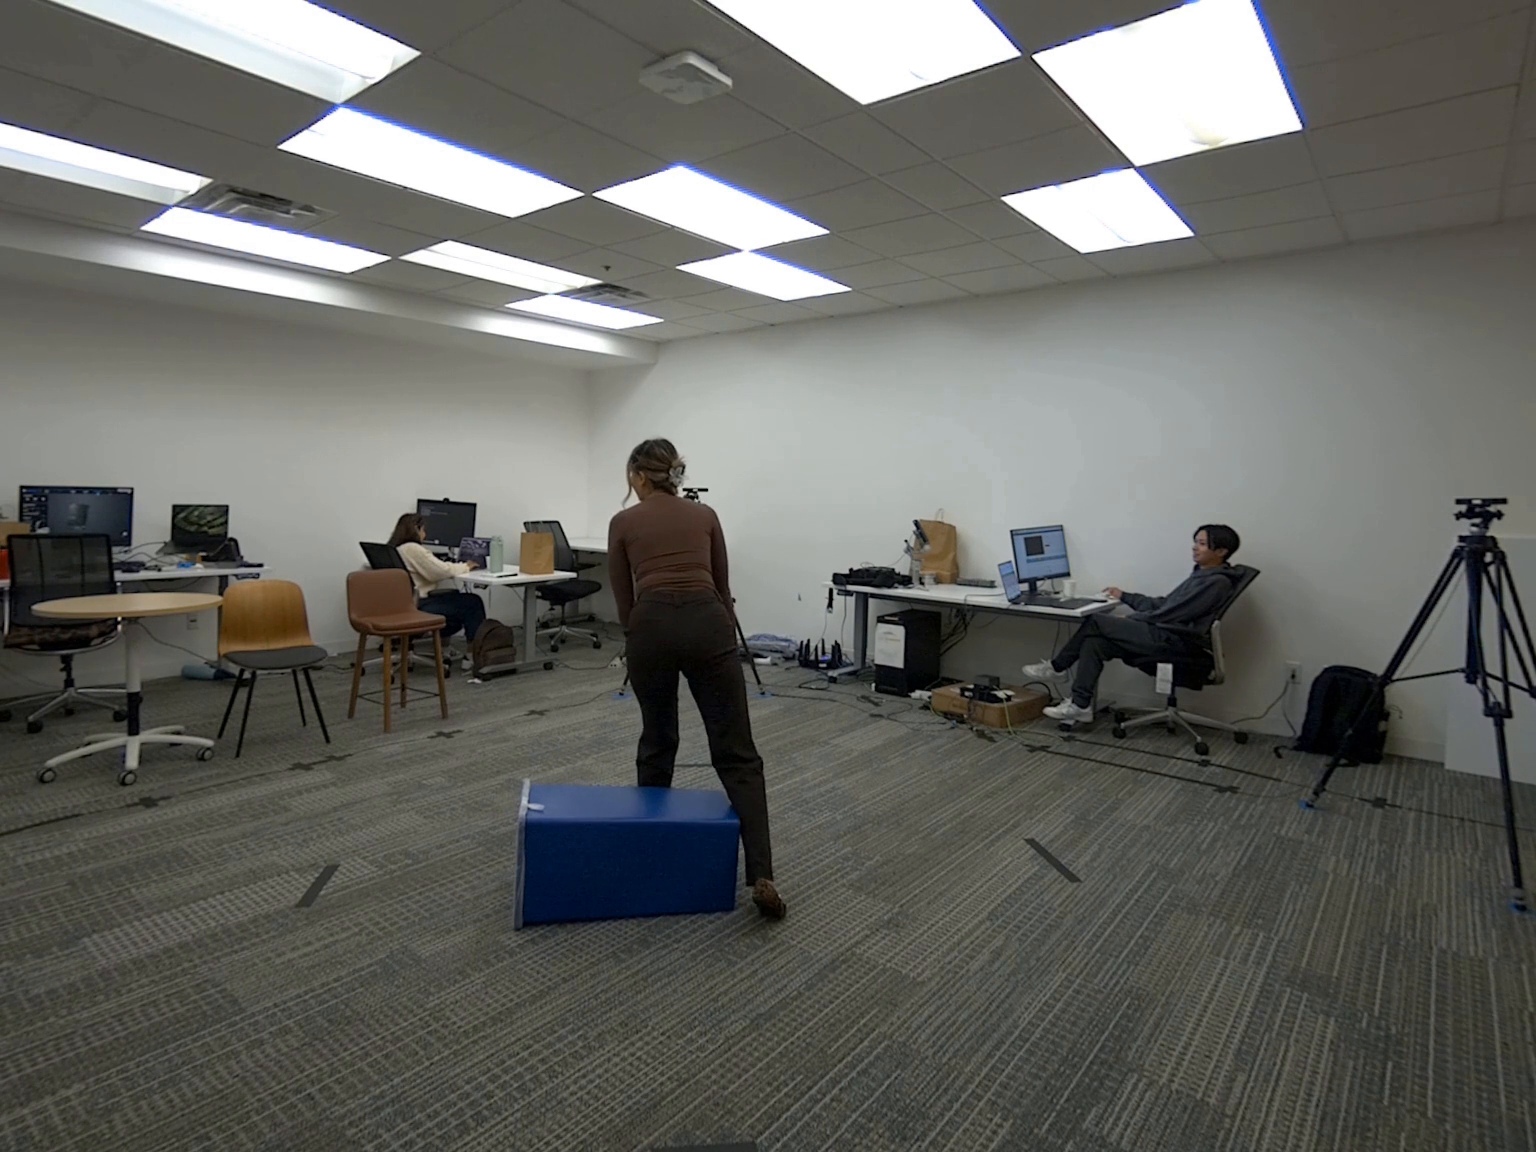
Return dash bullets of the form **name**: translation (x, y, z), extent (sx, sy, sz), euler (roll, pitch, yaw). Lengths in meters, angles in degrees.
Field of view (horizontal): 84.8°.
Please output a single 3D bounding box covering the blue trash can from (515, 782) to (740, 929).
- **blue trash can**: translation (-0.500, 0.923, 2.881), extent (0.704, 0.377, 0.380), euler (3, 3, -12)
